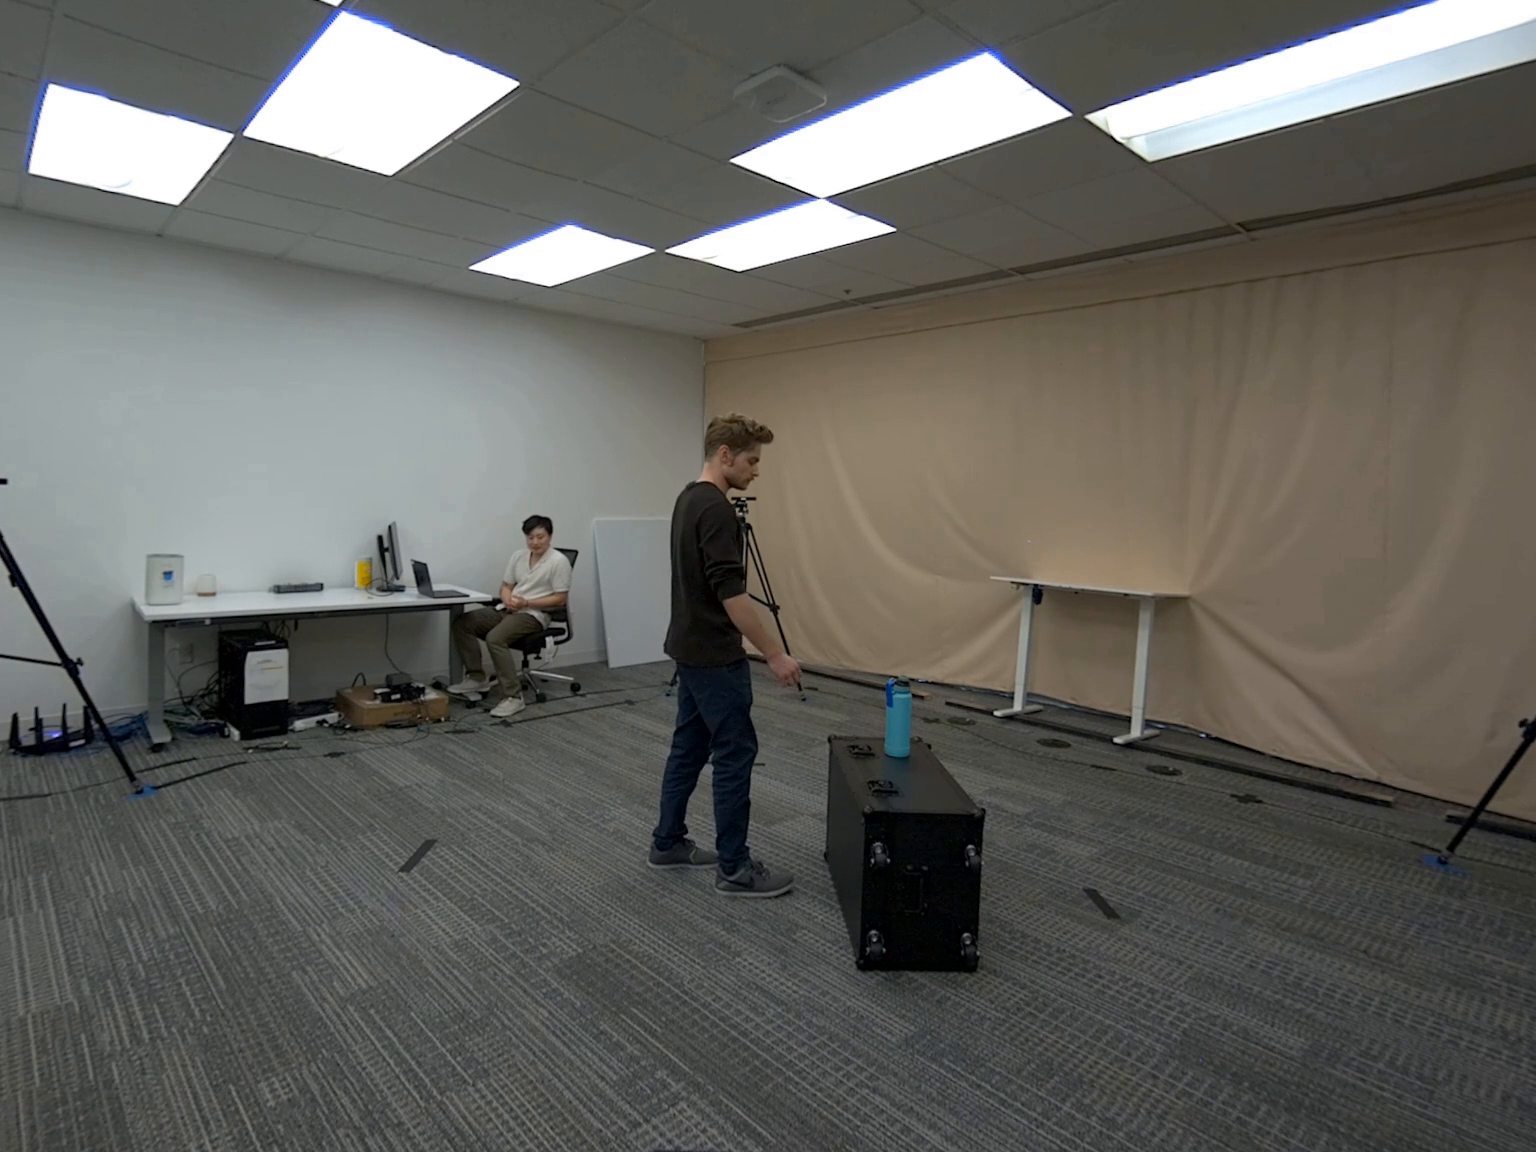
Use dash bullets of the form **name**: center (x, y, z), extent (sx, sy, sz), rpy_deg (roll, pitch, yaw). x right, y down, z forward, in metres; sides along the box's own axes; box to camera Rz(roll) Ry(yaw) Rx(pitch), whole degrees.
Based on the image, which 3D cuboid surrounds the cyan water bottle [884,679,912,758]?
- **cyan water bottle**: center (0.460, 0.505, 3.039), extent (0.092, 0.282, 0.092), rpy_deg (-1, 4, -1)
